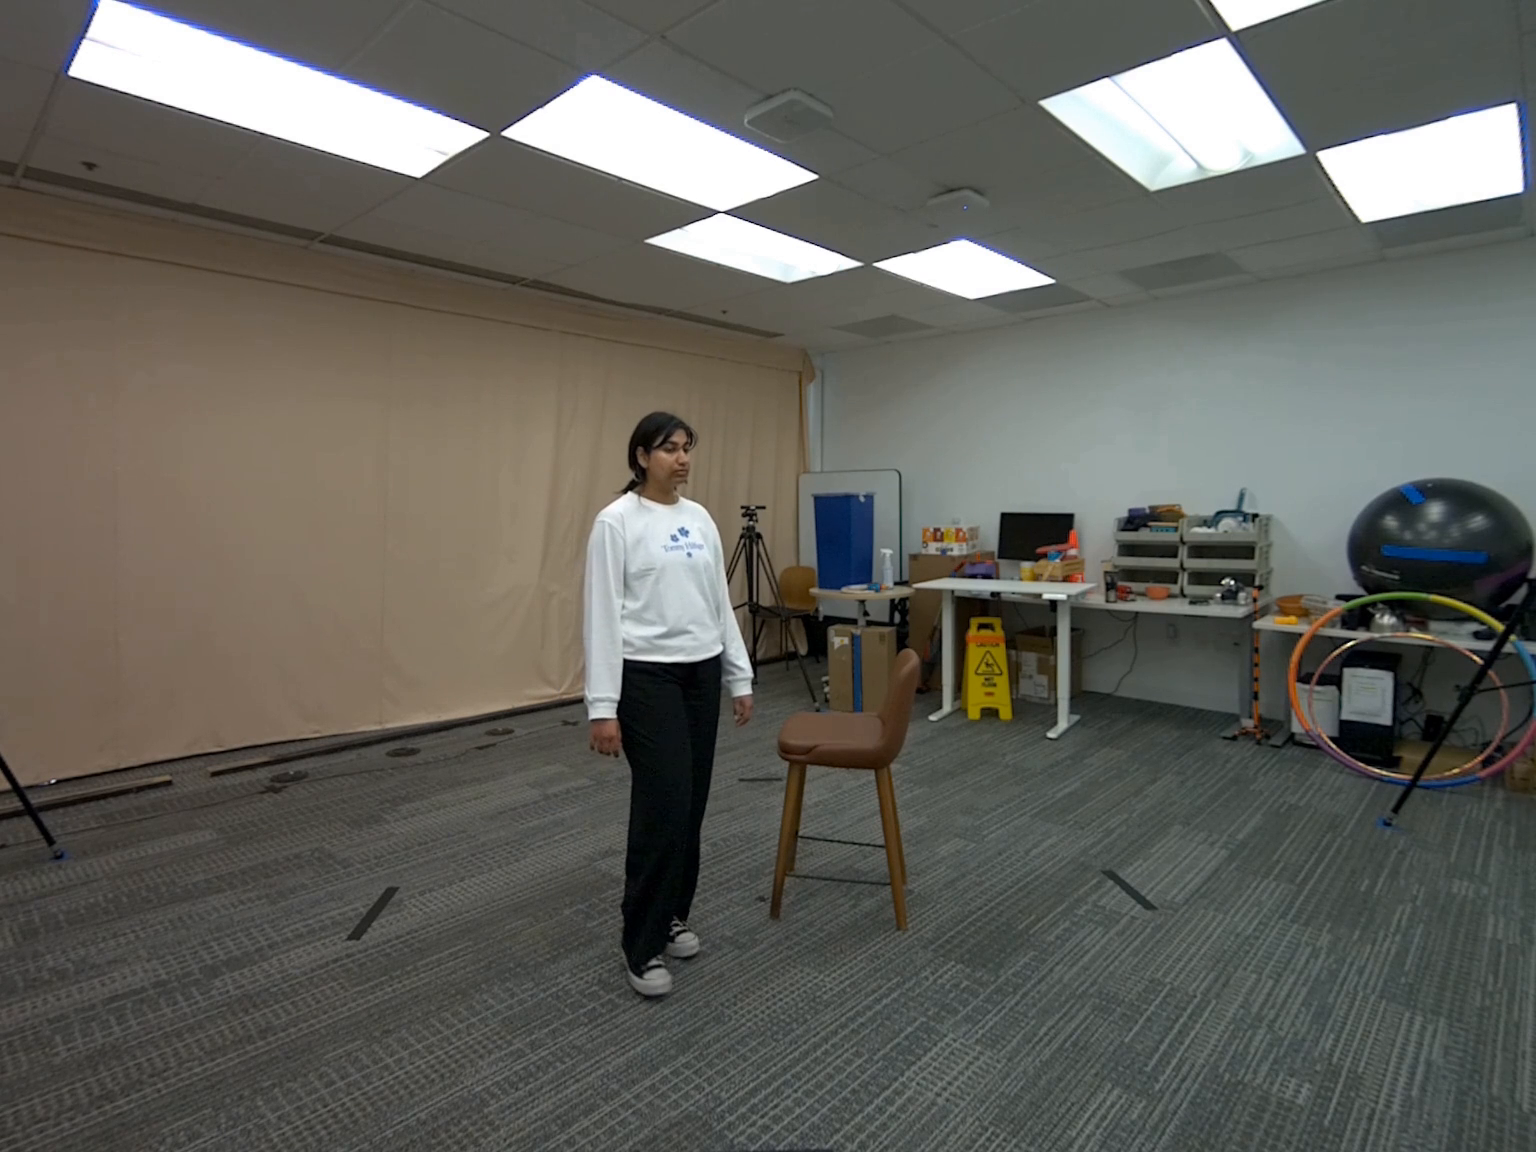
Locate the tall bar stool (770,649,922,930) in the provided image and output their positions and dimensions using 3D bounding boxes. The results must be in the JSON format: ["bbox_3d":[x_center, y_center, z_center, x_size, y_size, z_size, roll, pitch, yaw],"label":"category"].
[{"bbox_3d":[0.276,0.710,2.963,0.474,0.888,0.451,3,4,12],"label":"tall bar stool"}]
